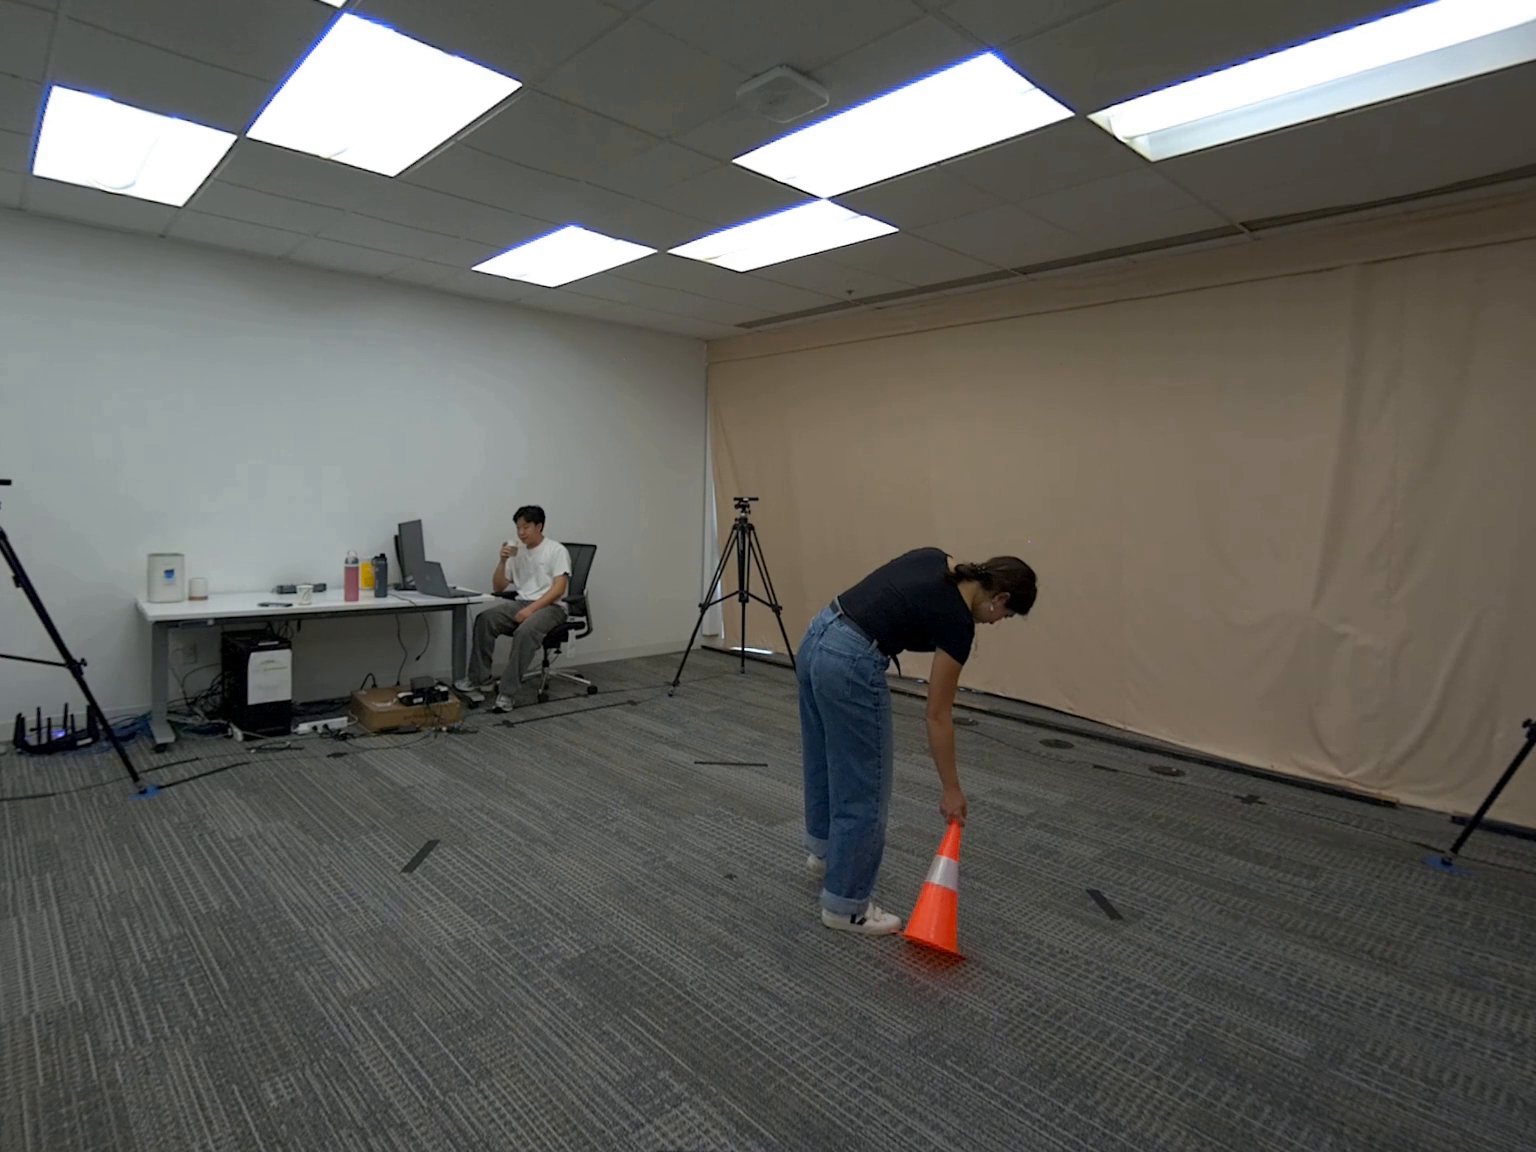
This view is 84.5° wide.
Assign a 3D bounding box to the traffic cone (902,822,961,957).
[{"bbox_3d":[0.537,0.958,2.628,0.208,0.387,0.198,1,-27,35],"label":"traffic cone"}]
